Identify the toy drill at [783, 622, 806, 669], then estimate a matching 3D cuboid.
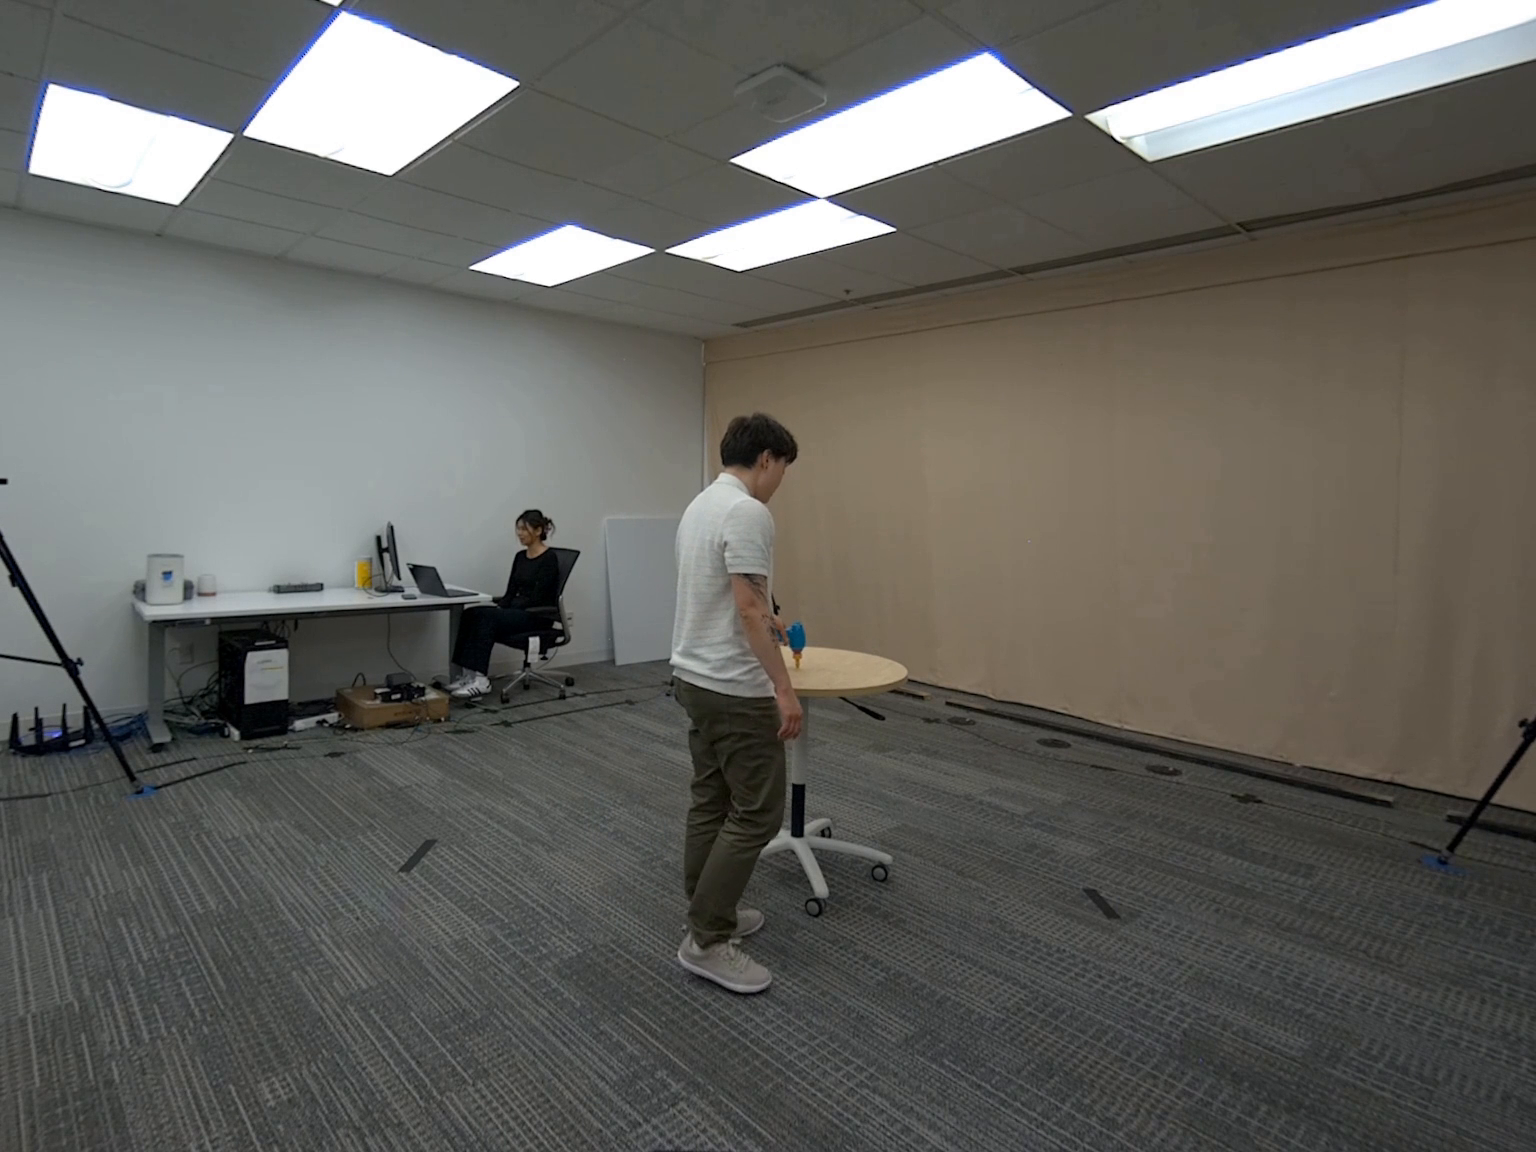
[{"bbox_3d":[0.060,0.254,3.028,0.145,0.169,0.062,-2,3,-9],"label":"toy drill"}]
